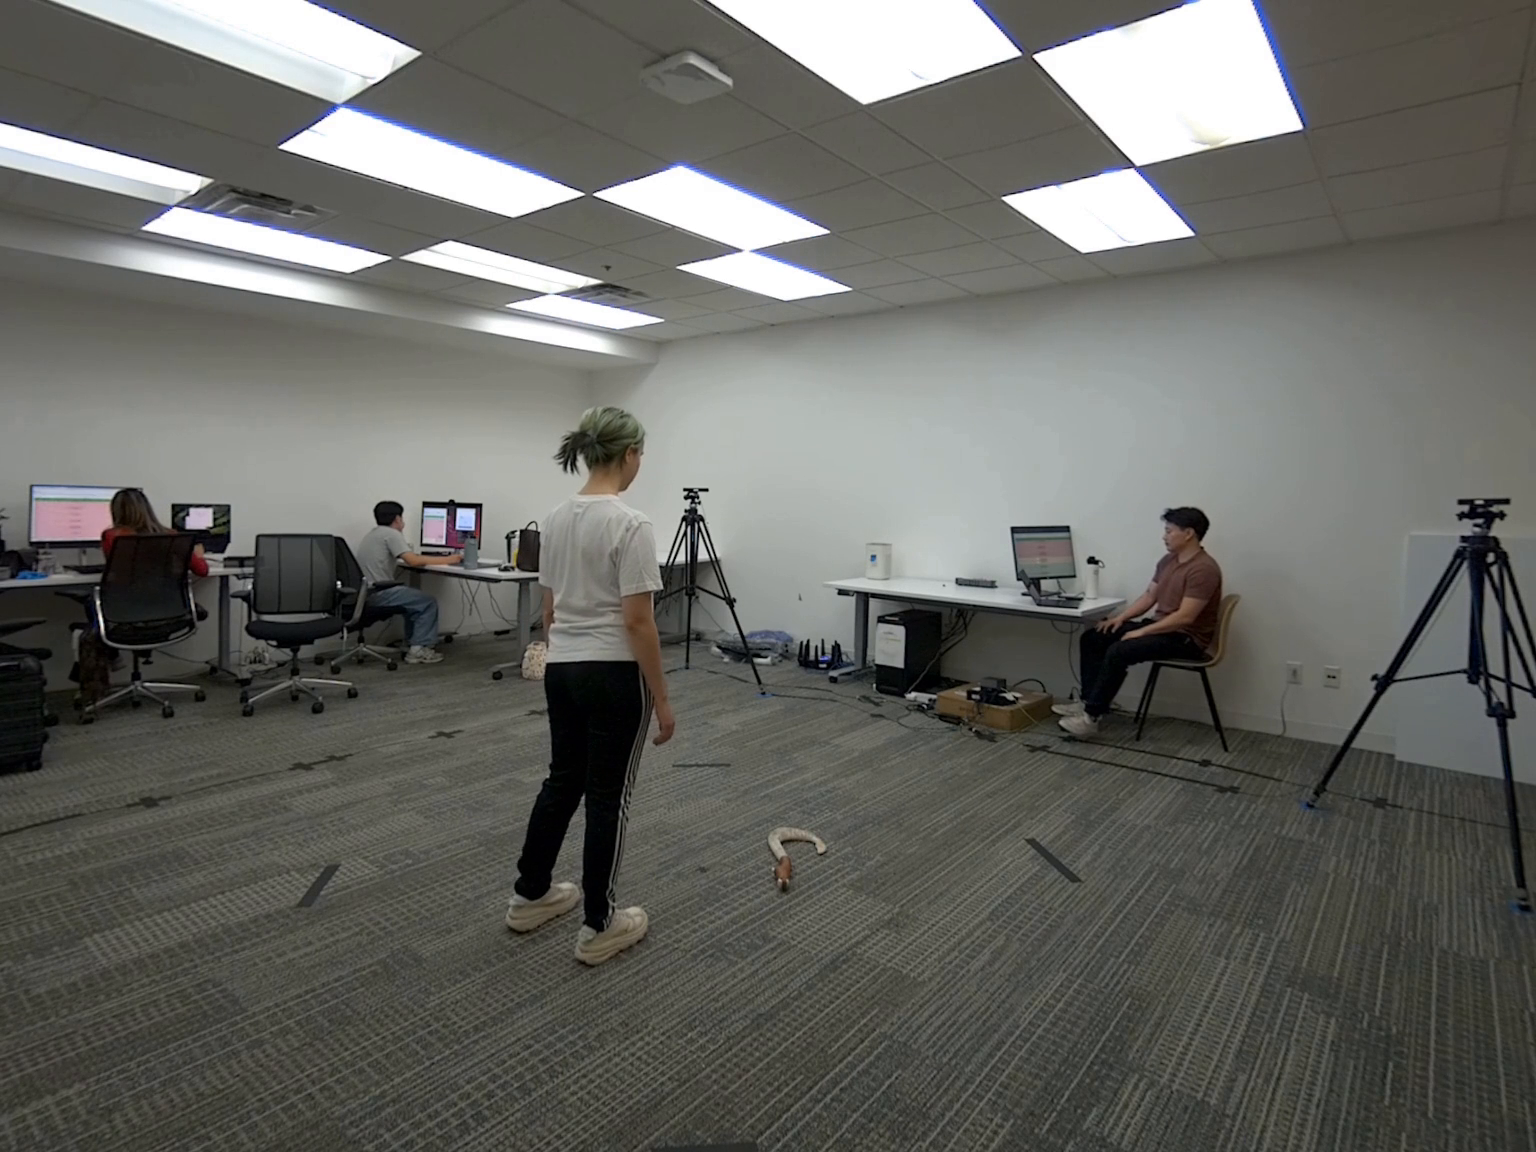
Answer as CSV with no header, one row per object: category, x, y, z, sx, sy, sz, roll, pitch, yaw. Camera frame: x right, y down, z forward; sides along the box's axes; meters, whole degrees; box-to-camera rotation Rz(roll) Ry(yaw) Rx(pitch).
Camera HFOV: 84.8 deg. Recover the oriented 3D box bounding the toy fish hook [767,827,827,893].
toy fish hook,0.105,1.046,3.185,0.225,0.048,0.507,-1,6,1
